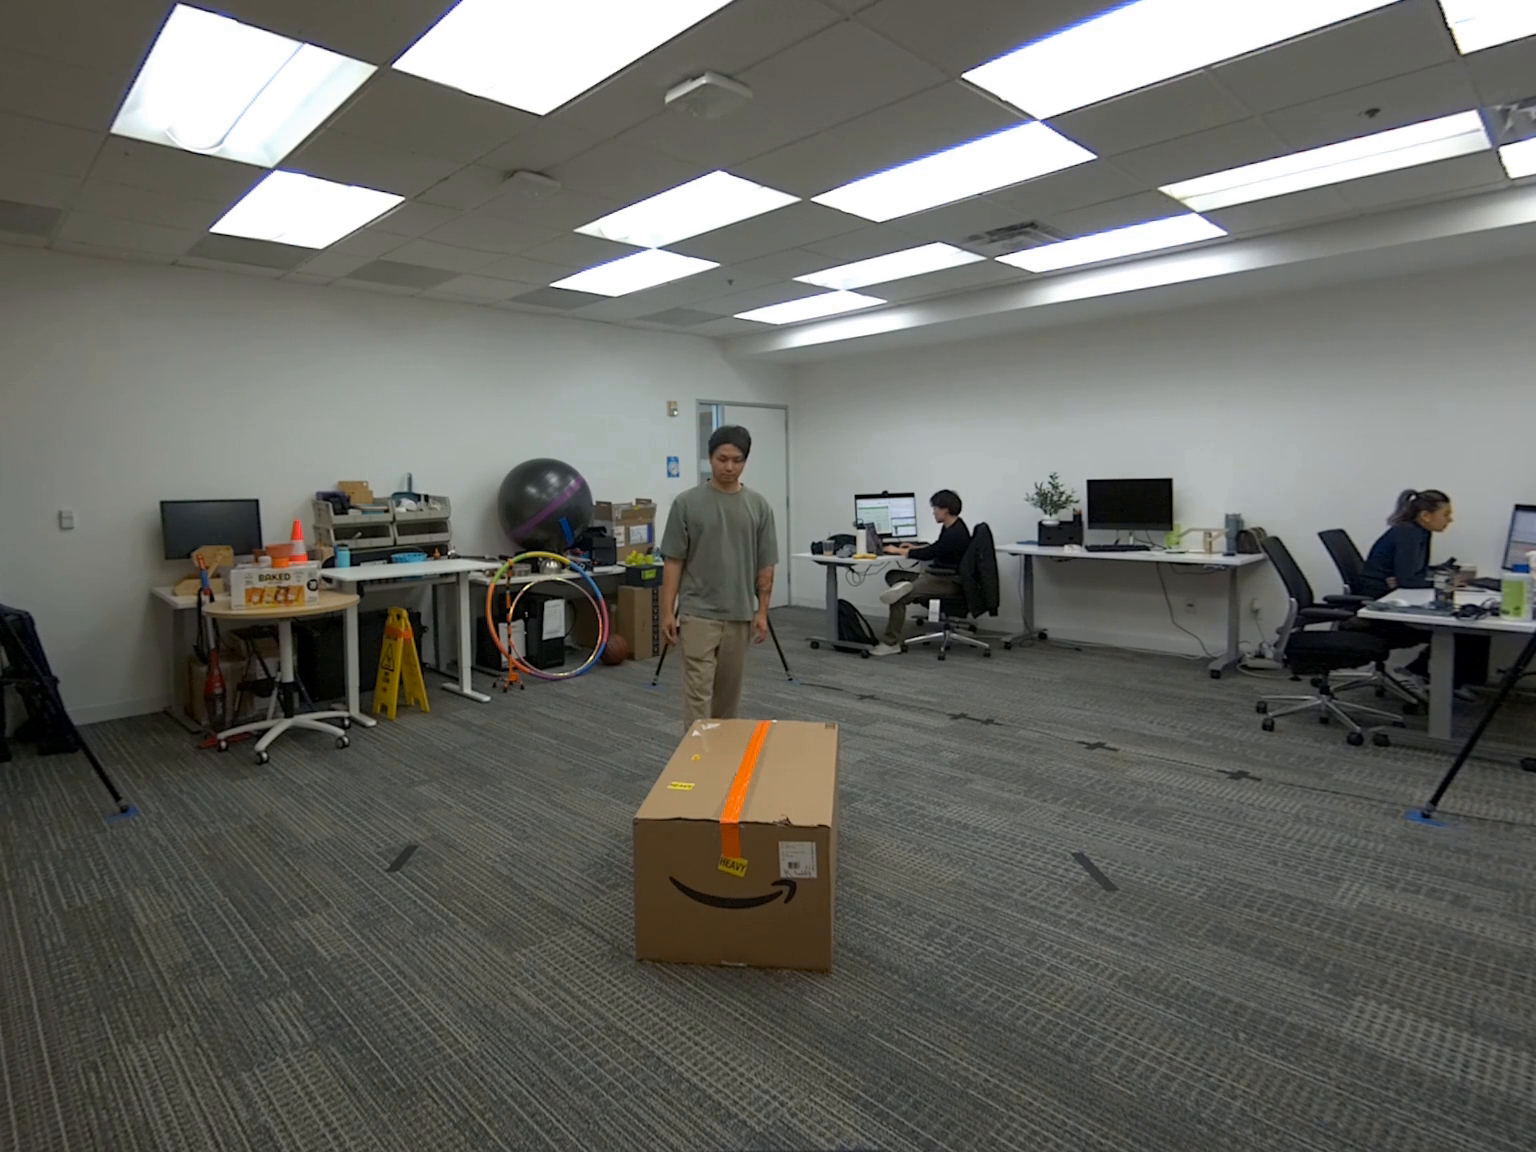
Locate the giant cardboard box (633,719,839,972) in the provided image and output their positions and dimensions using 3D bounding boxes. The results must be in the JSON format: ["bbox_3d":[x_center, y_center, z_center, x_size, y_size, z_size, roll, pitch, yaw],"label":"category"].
[{"bbox_3d":[-0.057,0.850,2.939,0.582,0.424,1.023,0,6,6],"label":"giant cardboard box"}]
